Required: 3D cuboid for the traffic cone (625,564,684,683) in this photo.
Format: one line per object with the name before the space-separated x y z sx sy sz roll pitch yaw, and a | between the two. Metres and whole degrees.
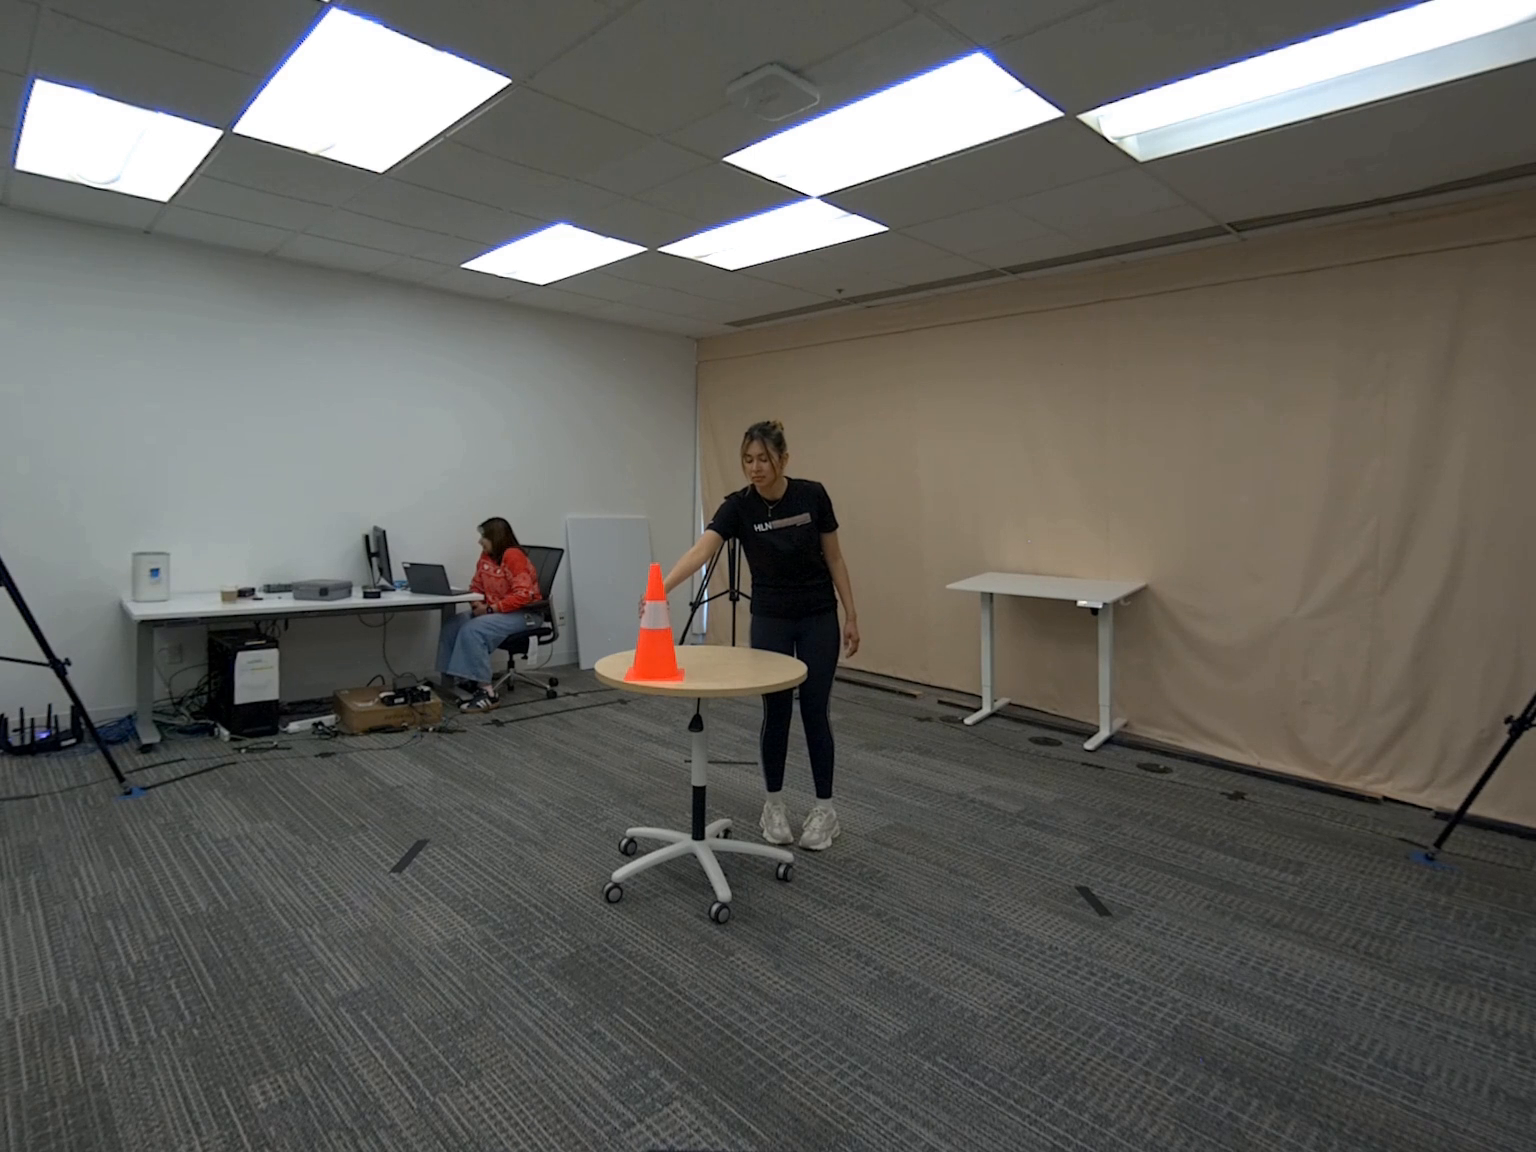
traffic cone | -0.392 0.154 2.852 0.202 0.383 0.206 1 3 -6
